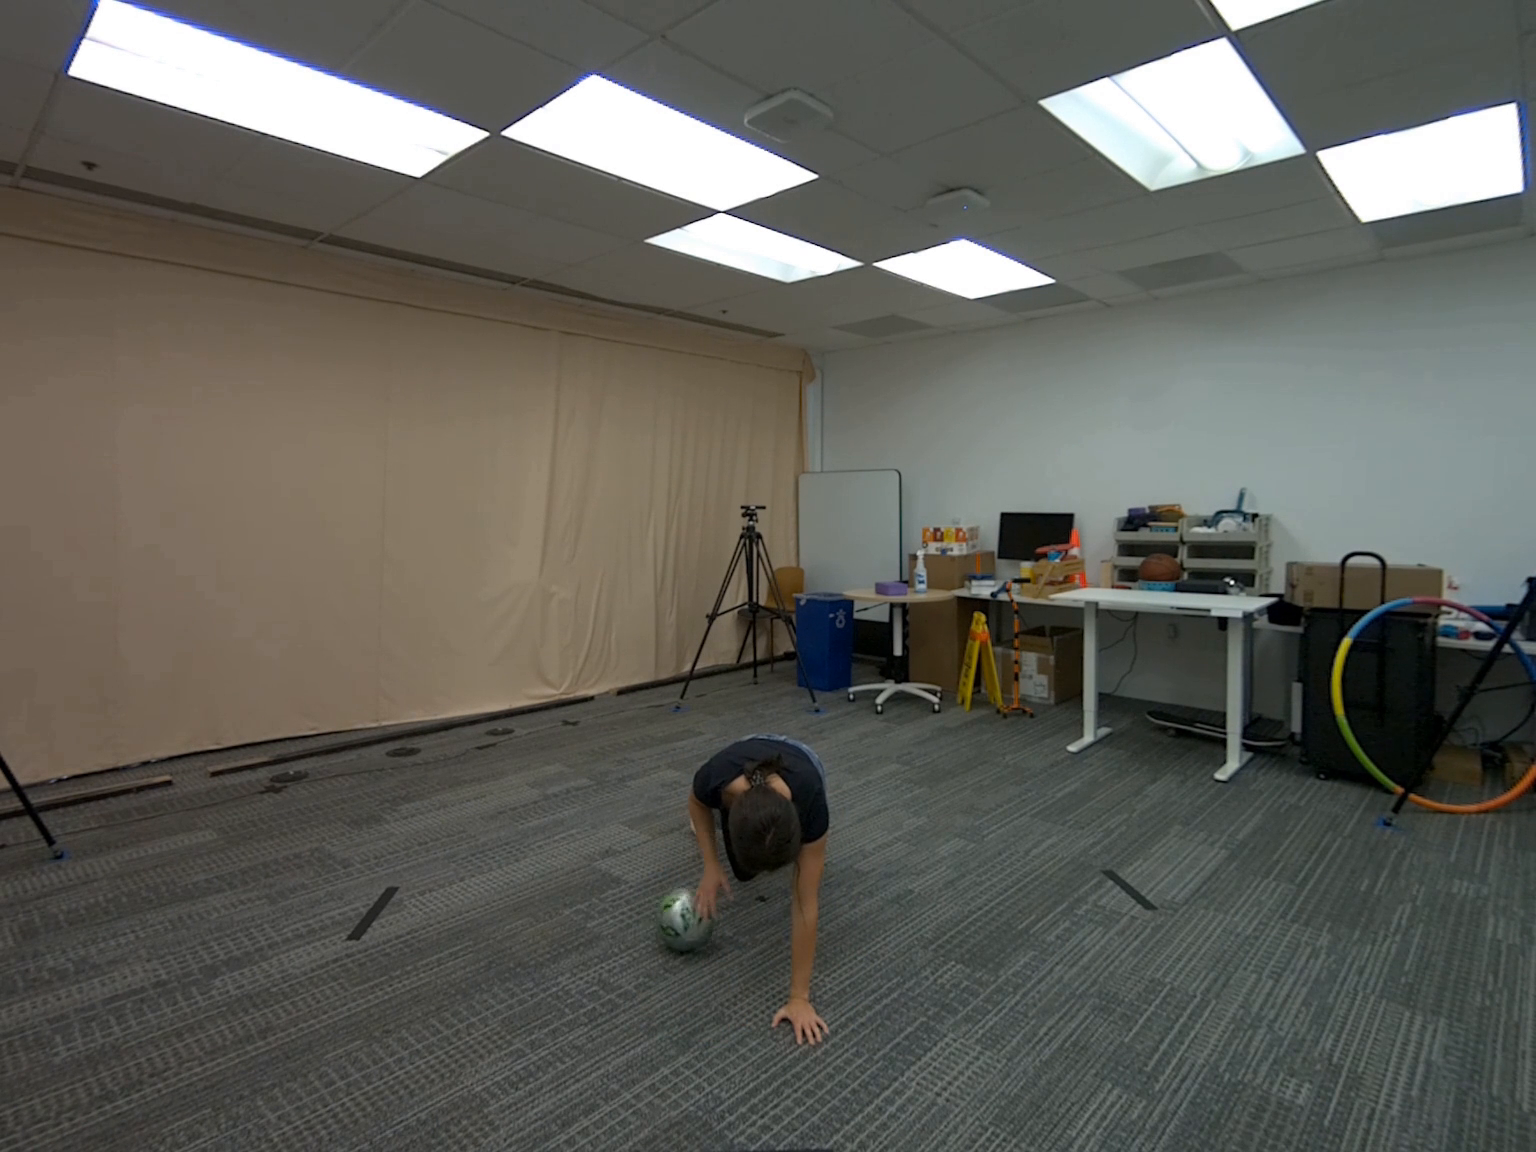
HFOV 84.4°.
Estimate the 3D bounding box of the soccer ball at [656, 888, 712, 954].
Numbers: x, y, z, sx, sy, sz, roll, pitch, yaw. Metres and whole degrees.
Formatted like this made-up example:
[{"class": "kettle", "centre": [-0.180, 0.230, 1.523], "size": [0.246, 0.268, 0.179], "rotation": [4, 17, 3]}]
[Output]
[{"class": "soccer ball", "centre": [-0.257, 1.078, 2.643], "size": [0.187, 0.187, 0.188], "rotation": [0, 4, -2]}]
